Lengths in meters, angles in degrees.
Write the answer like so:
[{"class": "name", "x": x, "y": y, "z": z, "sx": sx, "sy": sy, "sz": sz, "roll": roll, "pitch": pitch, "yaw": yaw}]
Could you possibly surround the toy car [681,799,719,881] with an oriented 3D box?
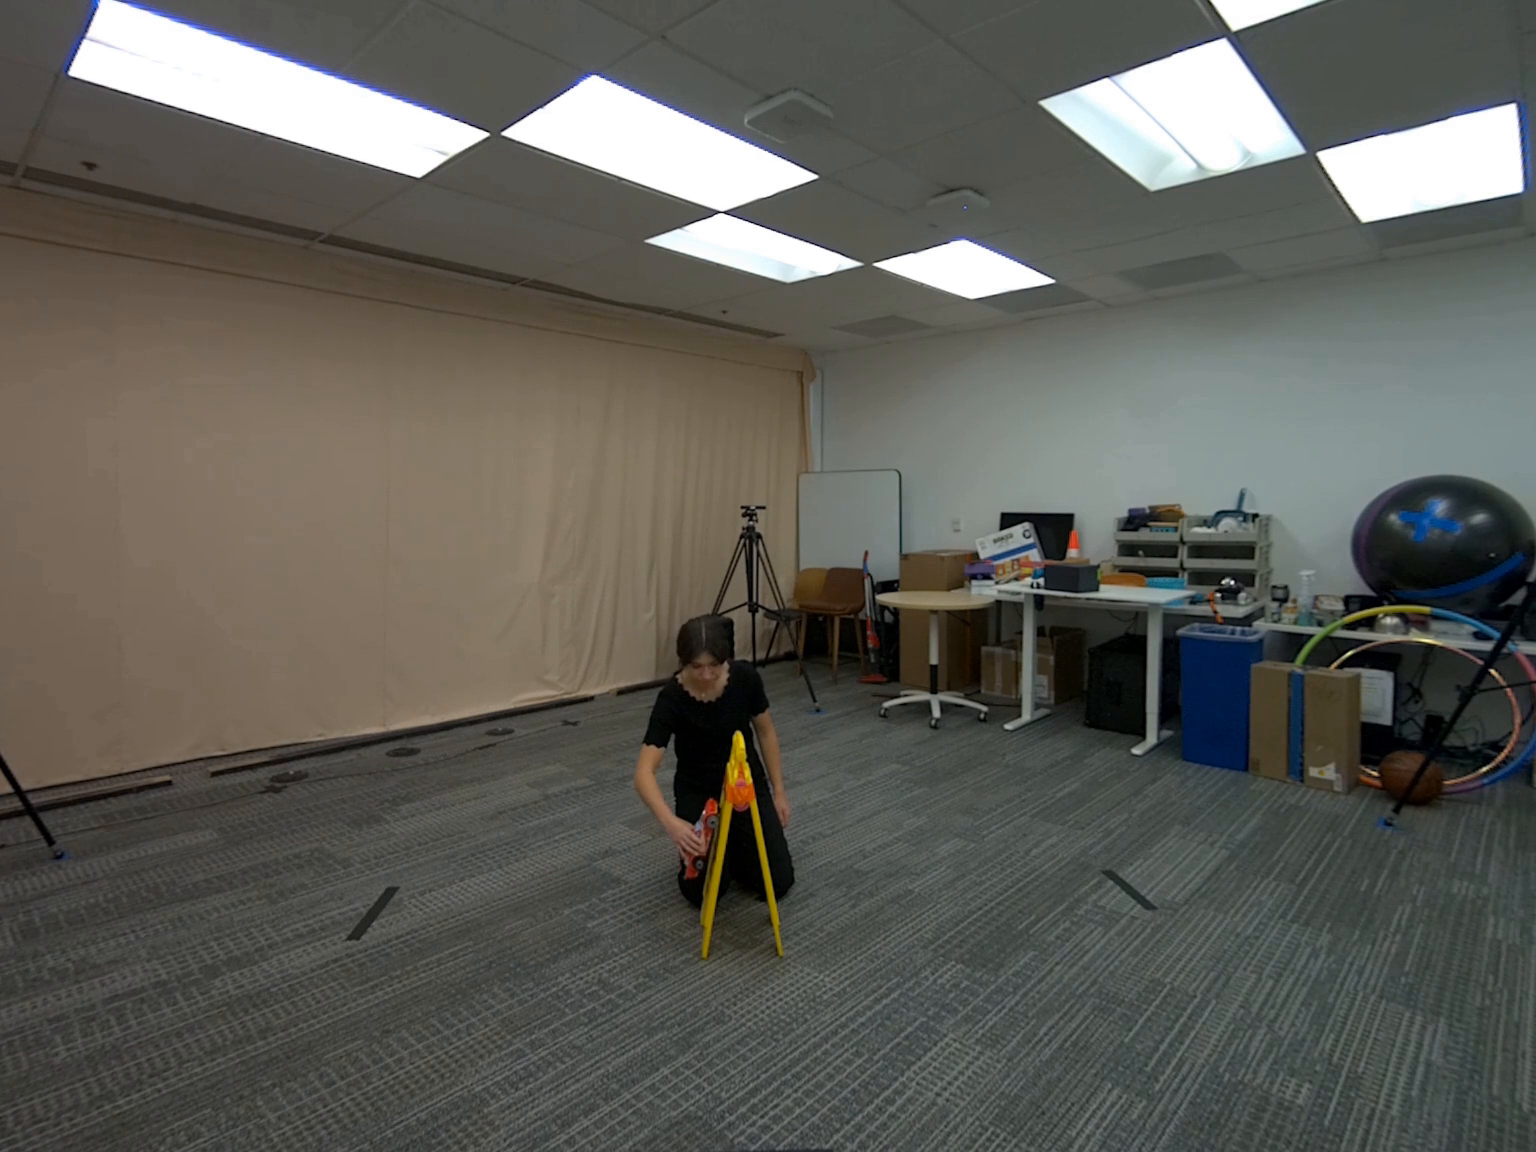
[{"class": "toy car", "x": -0.209, "y": 0.853, "z": 2.721, "sx": 0.083, "sy": 0.254, "sz": 0.131, "roll": 25, "pitch": 6, "yaw": -6}]
